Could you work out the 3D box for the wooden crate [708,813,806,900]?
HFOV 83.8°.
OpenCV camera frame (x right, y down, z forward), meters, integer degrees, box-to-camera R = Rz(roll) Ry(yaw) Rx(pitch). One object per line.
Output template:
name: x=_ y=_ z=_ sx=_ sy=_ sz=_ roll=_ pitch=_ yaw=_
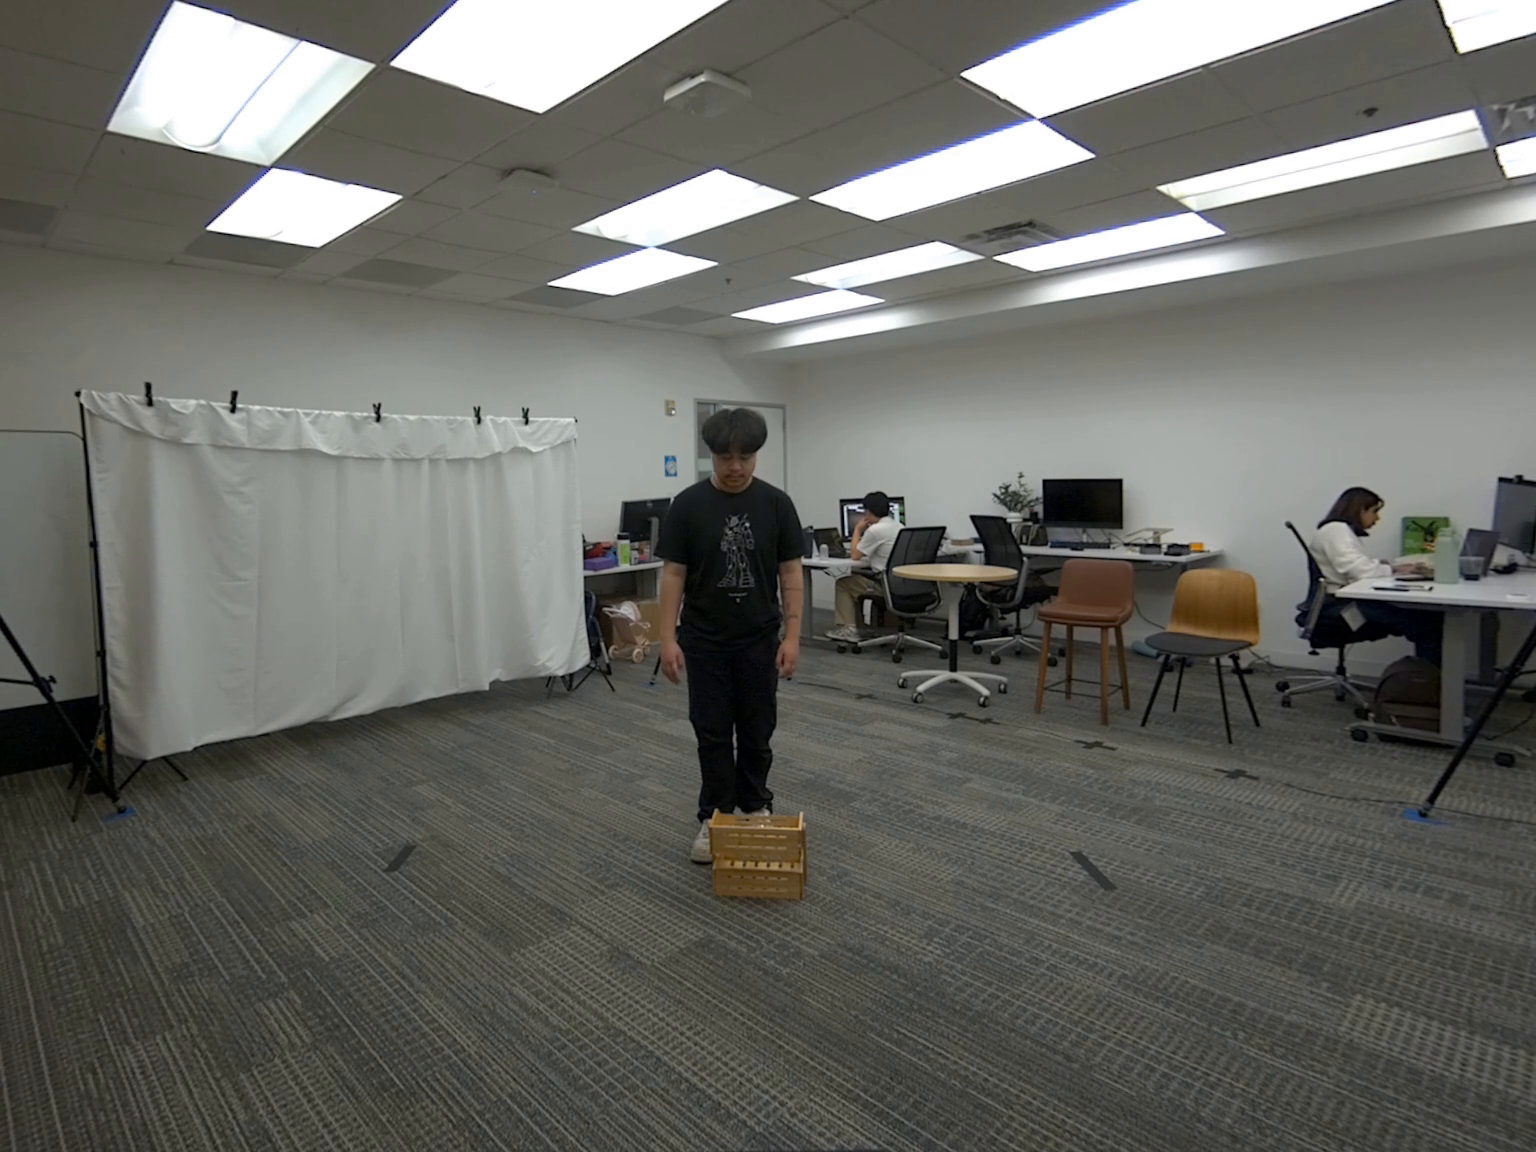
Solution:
wooden crate: x=-0.028 y=0.929 z=2.941 sx=0.326 sy=0.272 sz=0.302 roll=0 pitch=6 yaw=6
